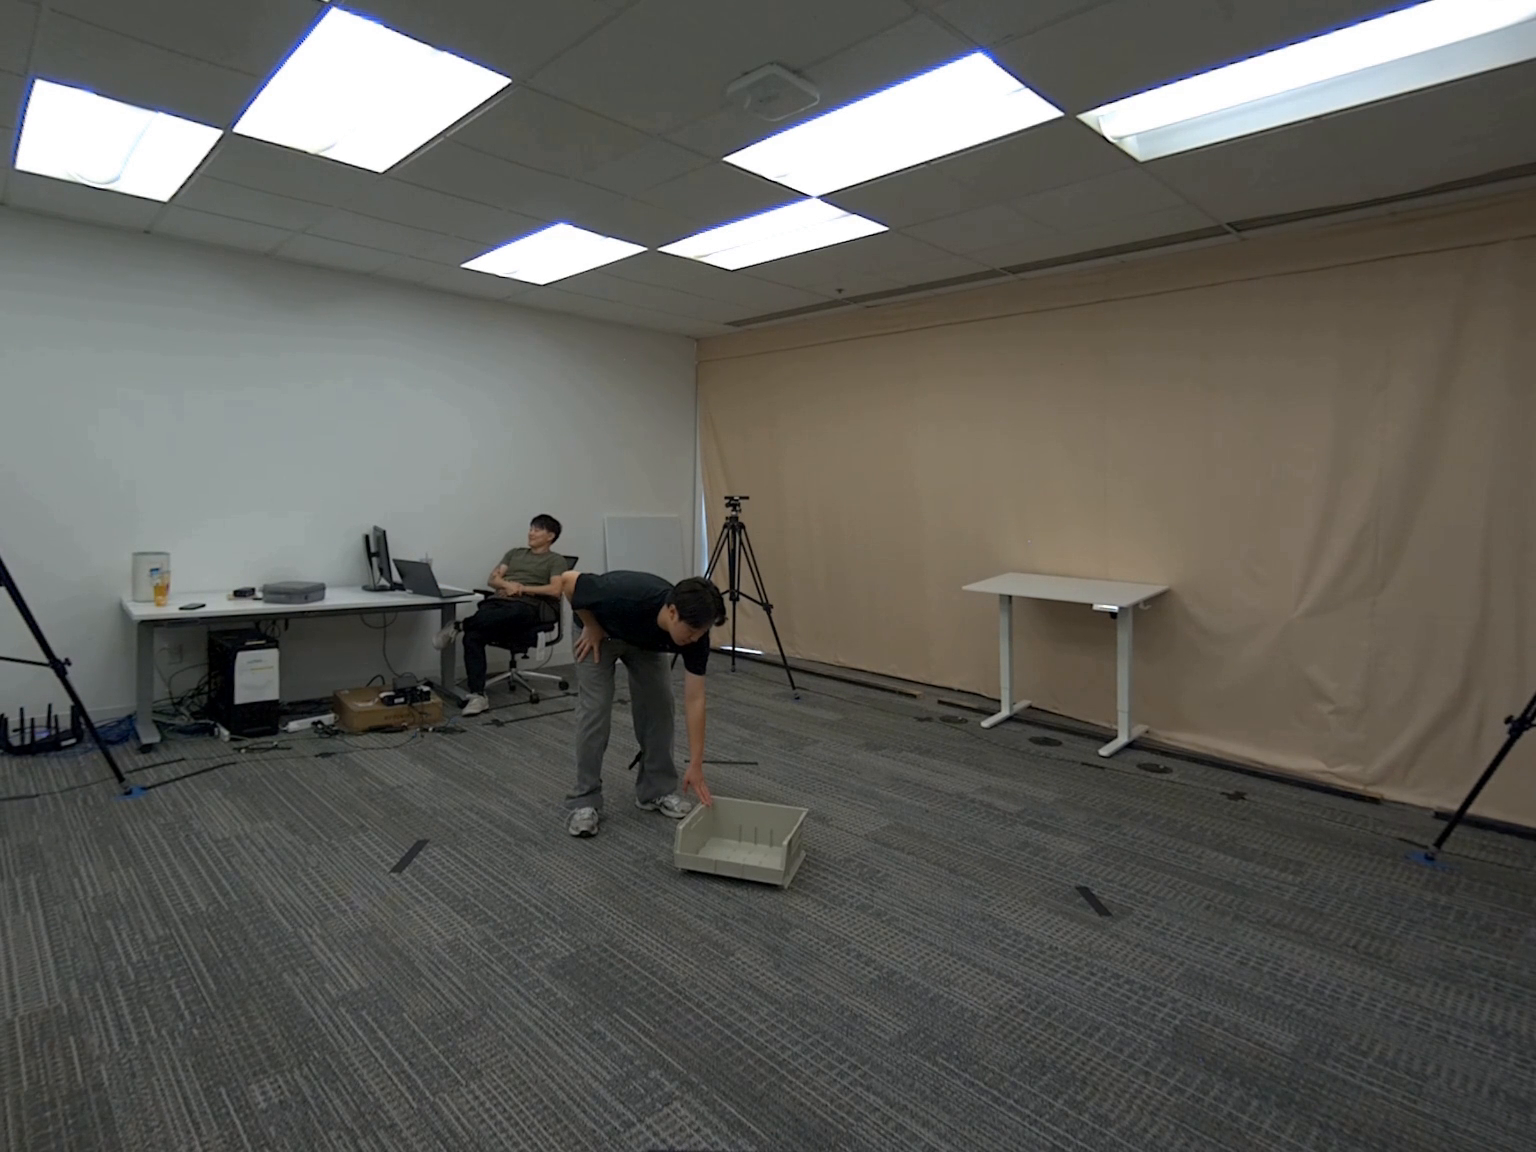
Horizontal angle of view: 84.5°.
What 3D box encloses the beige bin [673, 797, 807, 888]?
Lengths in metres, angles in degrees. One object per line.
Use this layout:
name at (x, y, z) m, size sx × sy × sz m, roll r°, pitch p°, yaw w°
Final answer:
beige bin at (-0.098, 1.012, 3.187) m, size 0.428 × 0.188 × 0.373 m, roll 2°, pitch 4°, yaw 16°
